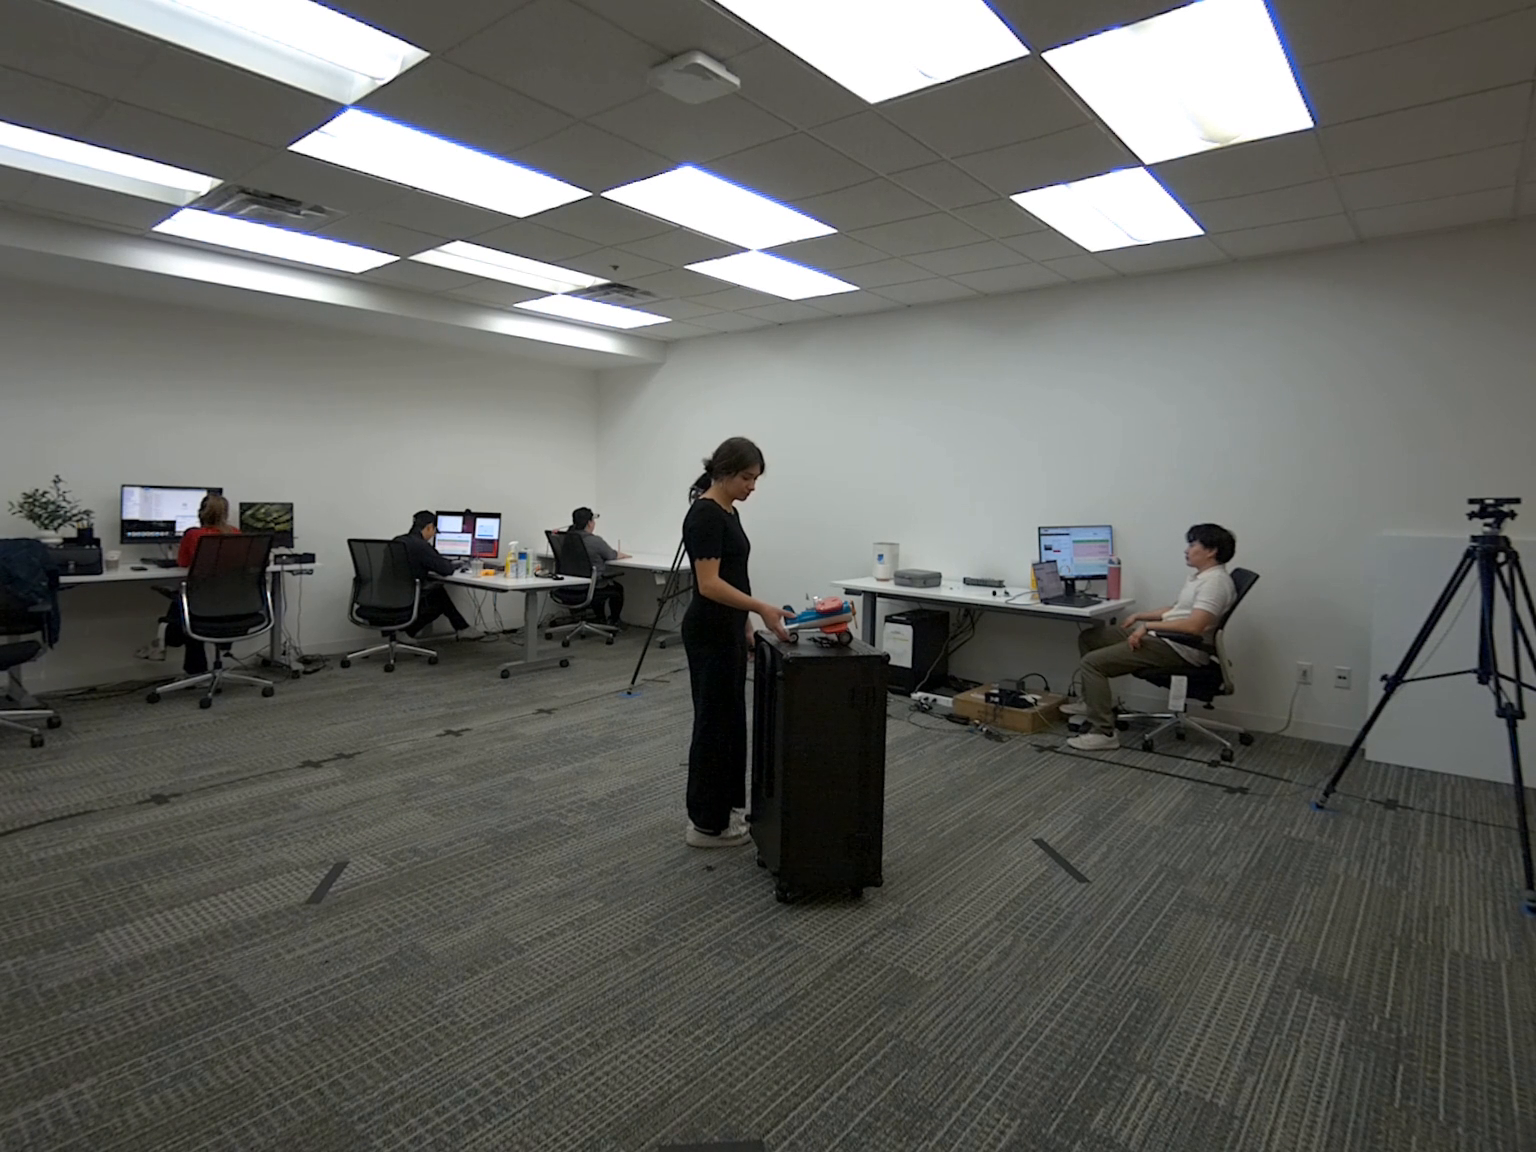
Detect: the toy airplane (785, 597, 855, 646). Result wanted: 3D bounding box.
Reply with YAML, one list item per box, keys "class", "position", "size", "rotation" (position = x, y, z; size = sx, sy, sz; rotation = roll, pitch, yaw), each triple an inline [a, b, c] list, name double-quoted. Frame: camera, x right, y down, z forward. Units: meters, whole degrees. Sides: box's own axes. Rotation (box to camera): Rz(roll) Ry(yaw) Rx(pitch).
- class: "toy airplane"
  position: [0.181, 0.158, 3.004]
  size: [0.253, 0.156, 0.258]
  rotation: [-1, 4, -26]
